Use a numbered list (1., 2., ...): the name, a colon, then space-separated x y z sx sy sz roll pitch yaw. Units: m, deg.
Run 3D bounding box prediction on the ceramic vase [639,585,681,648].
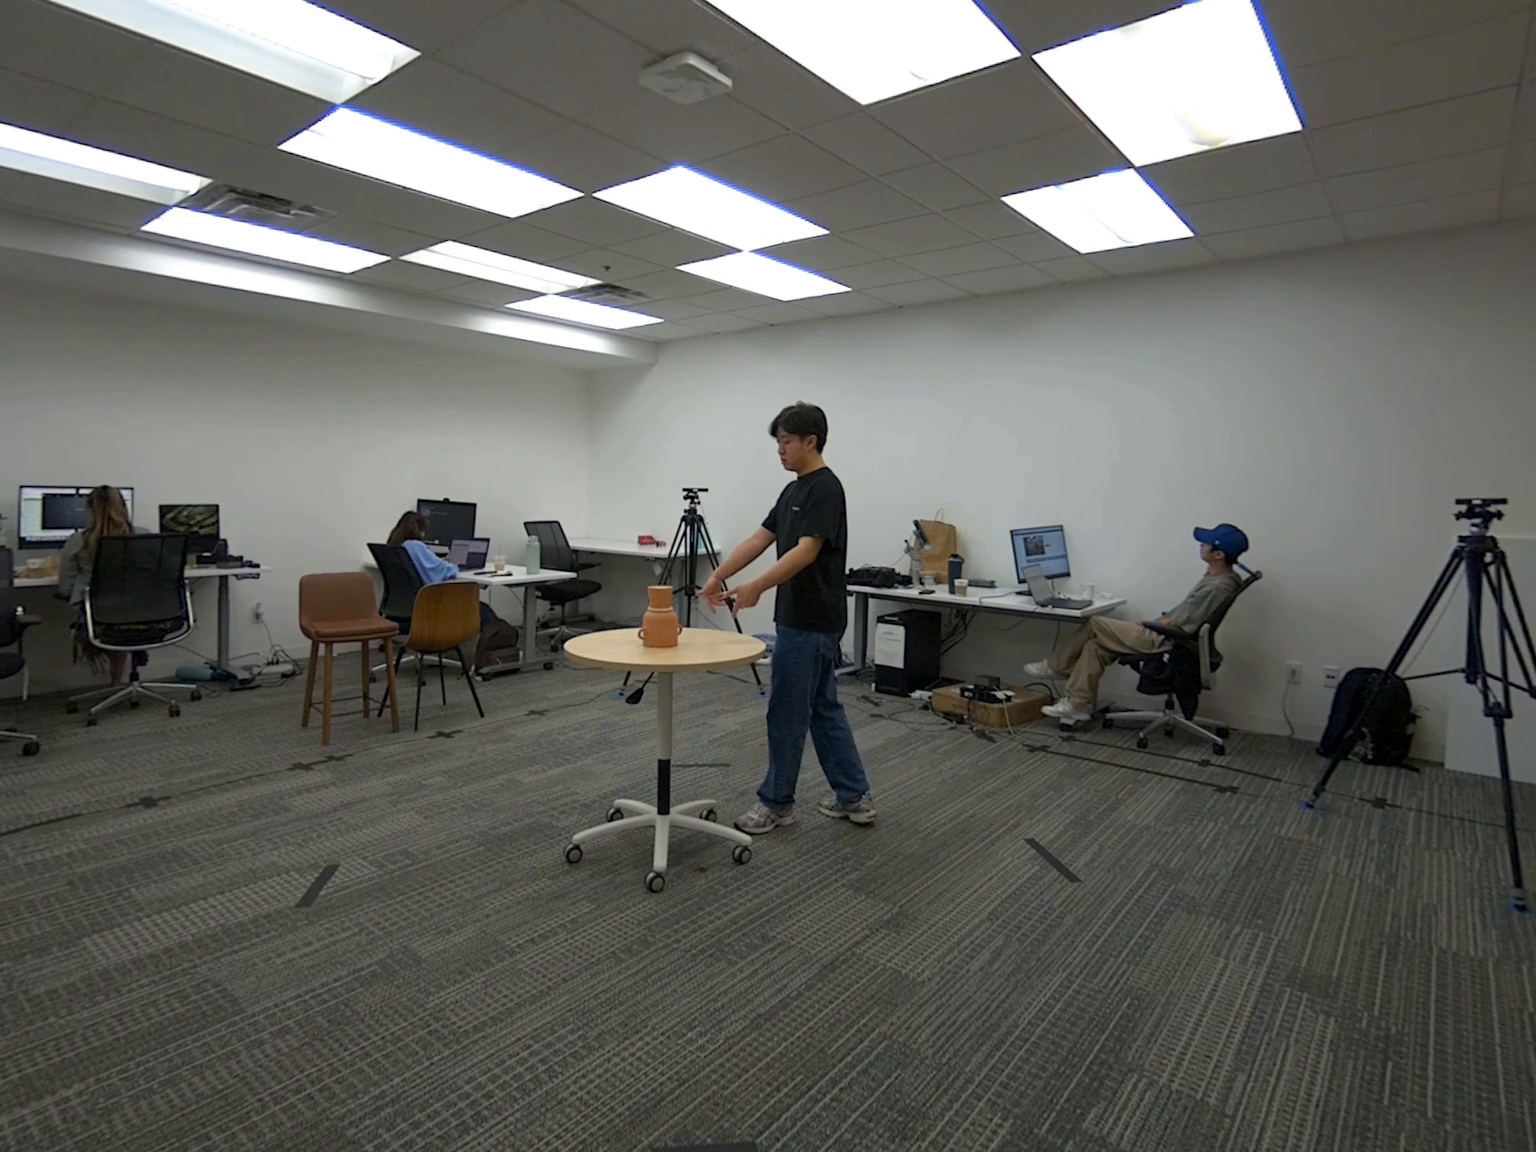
1. ceramic vase: -0.419 0.150 3.222 0.136 0.219 0.157 0 2 11
